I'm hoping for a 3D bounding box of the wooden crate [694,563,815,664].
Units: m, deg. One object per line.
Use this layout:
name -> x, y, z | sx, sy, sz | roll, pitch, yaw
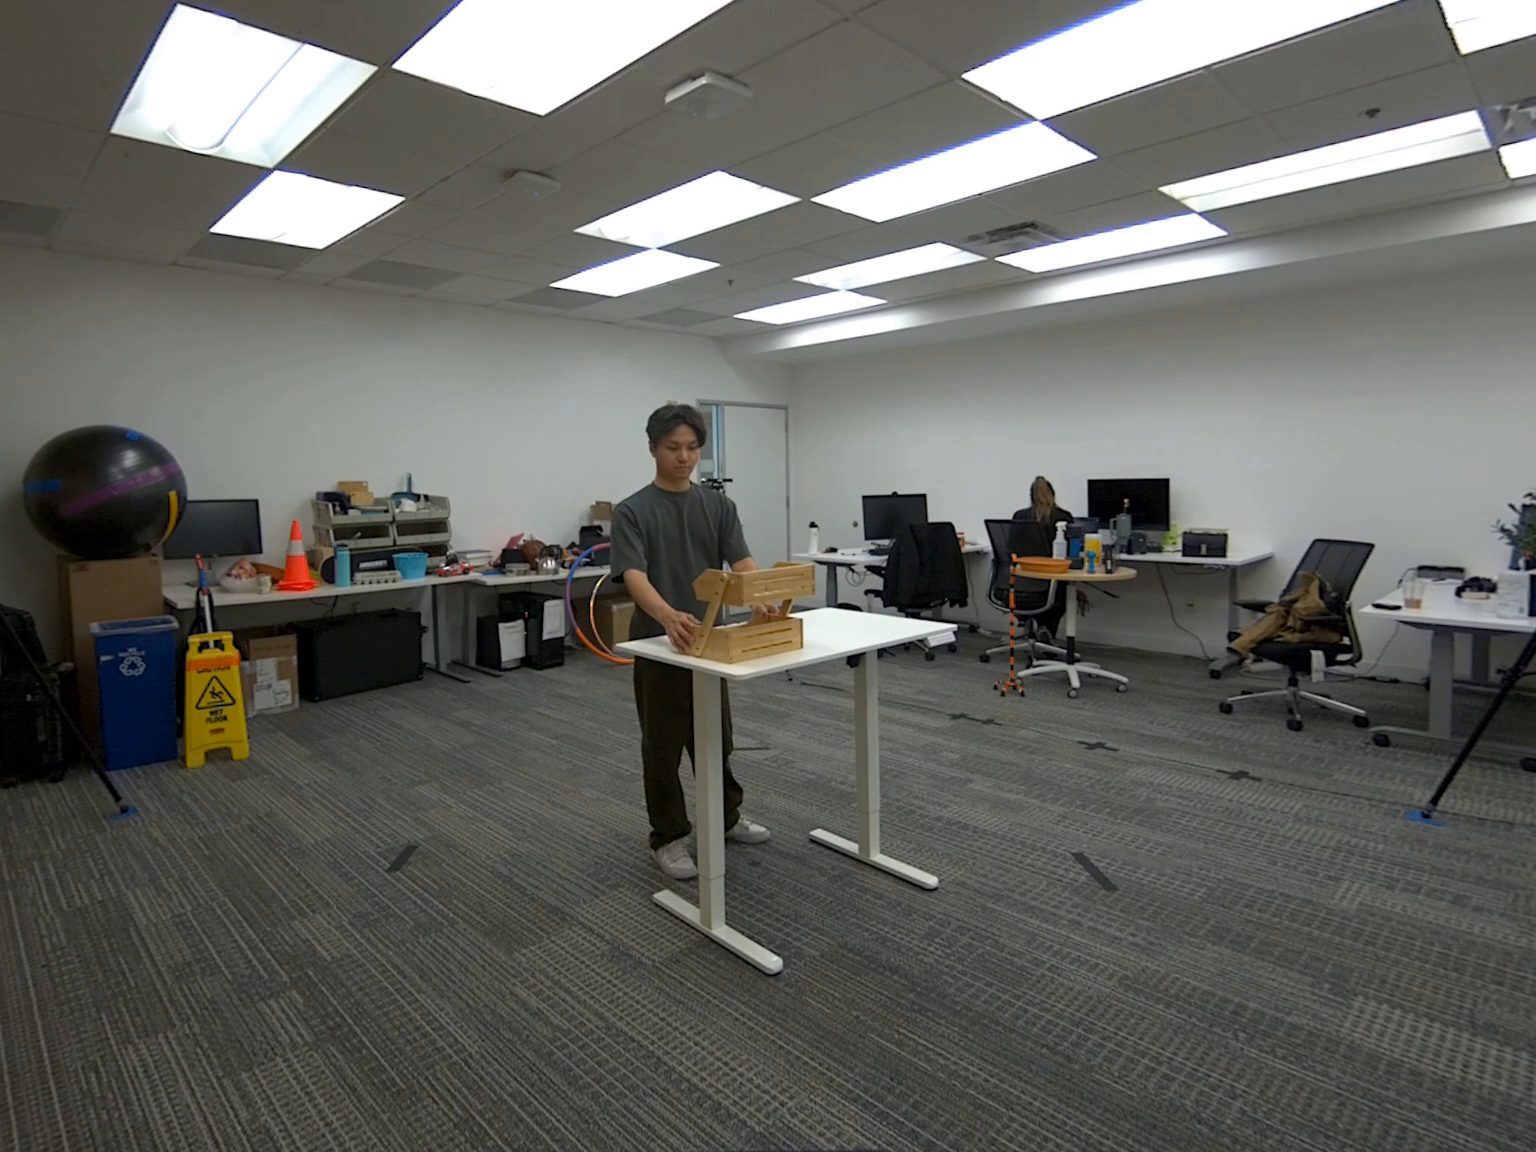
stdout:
wooden crate -> -0.064, 0.094, 2.560 | 0.316, 0.272, 0.311 | -6, 8, -42
